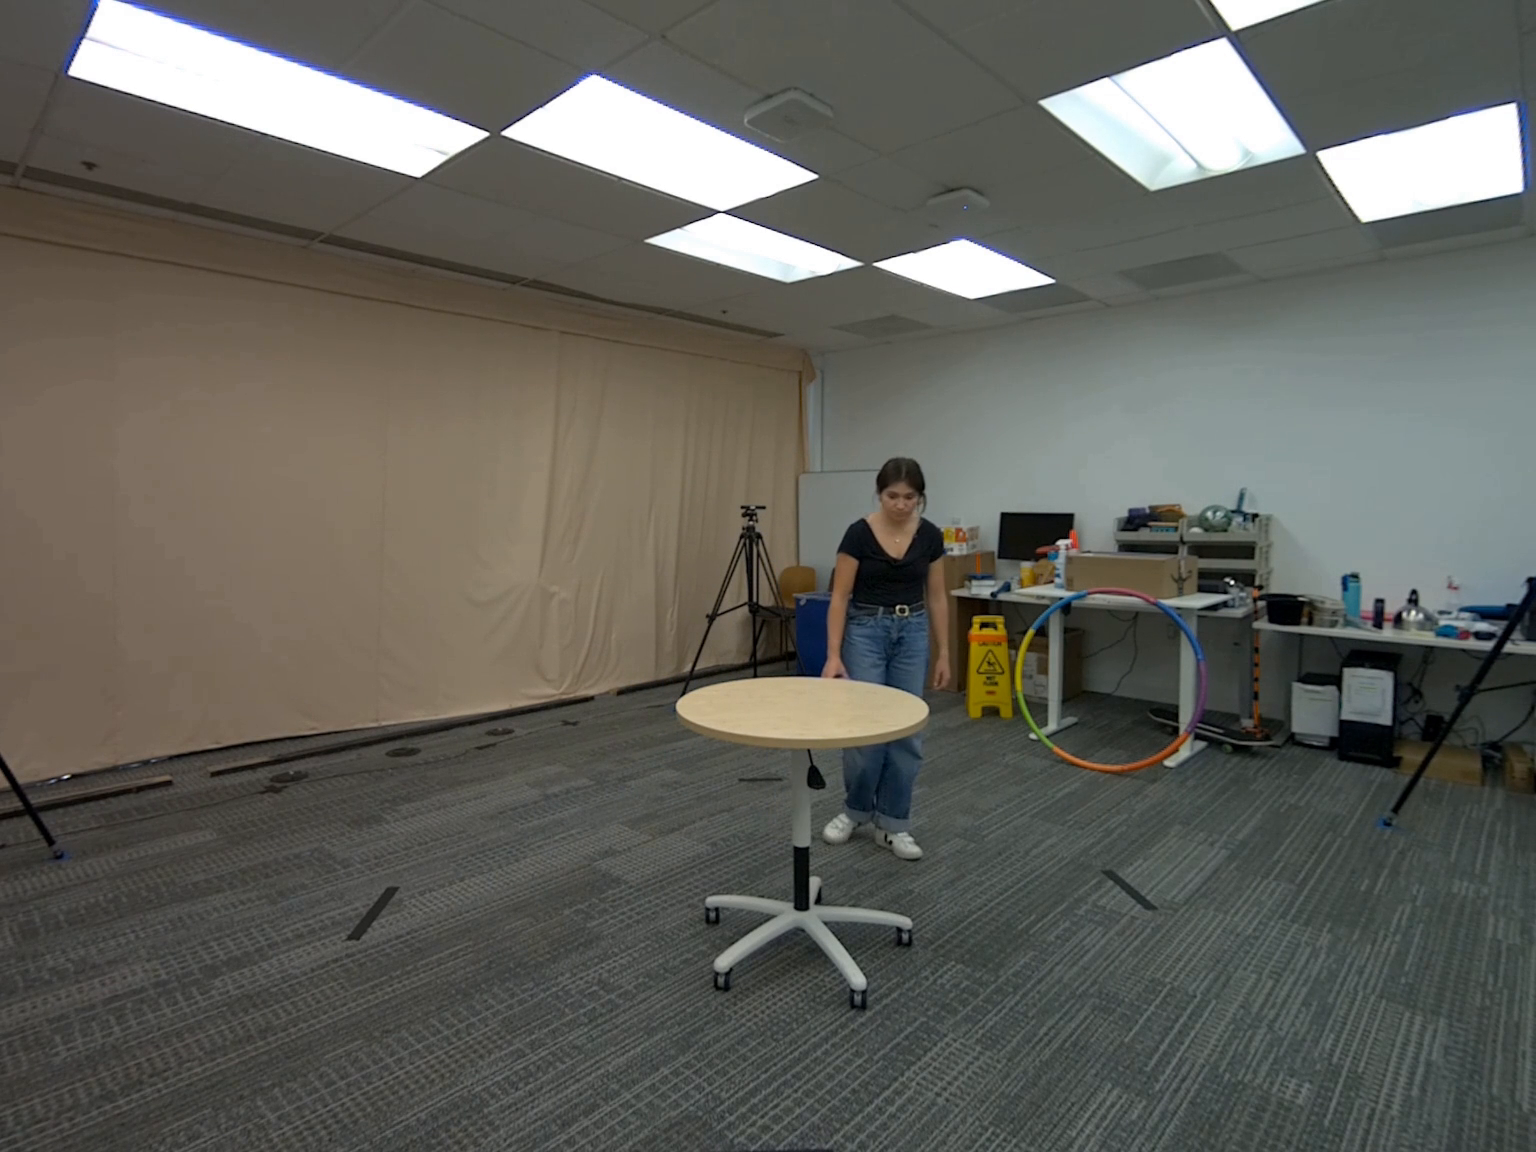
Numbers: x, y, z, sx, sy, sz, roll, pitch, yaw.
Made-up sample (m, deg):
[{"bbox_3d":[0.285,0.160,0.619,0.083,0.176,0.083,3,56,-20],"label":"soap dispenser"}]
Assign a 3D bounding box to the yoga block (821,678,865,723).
[{"bbox_3d":[0.284,0.471,3.258,0.076,0.149,0.230,-12,-3,-11],"label":"yoga block"}]
